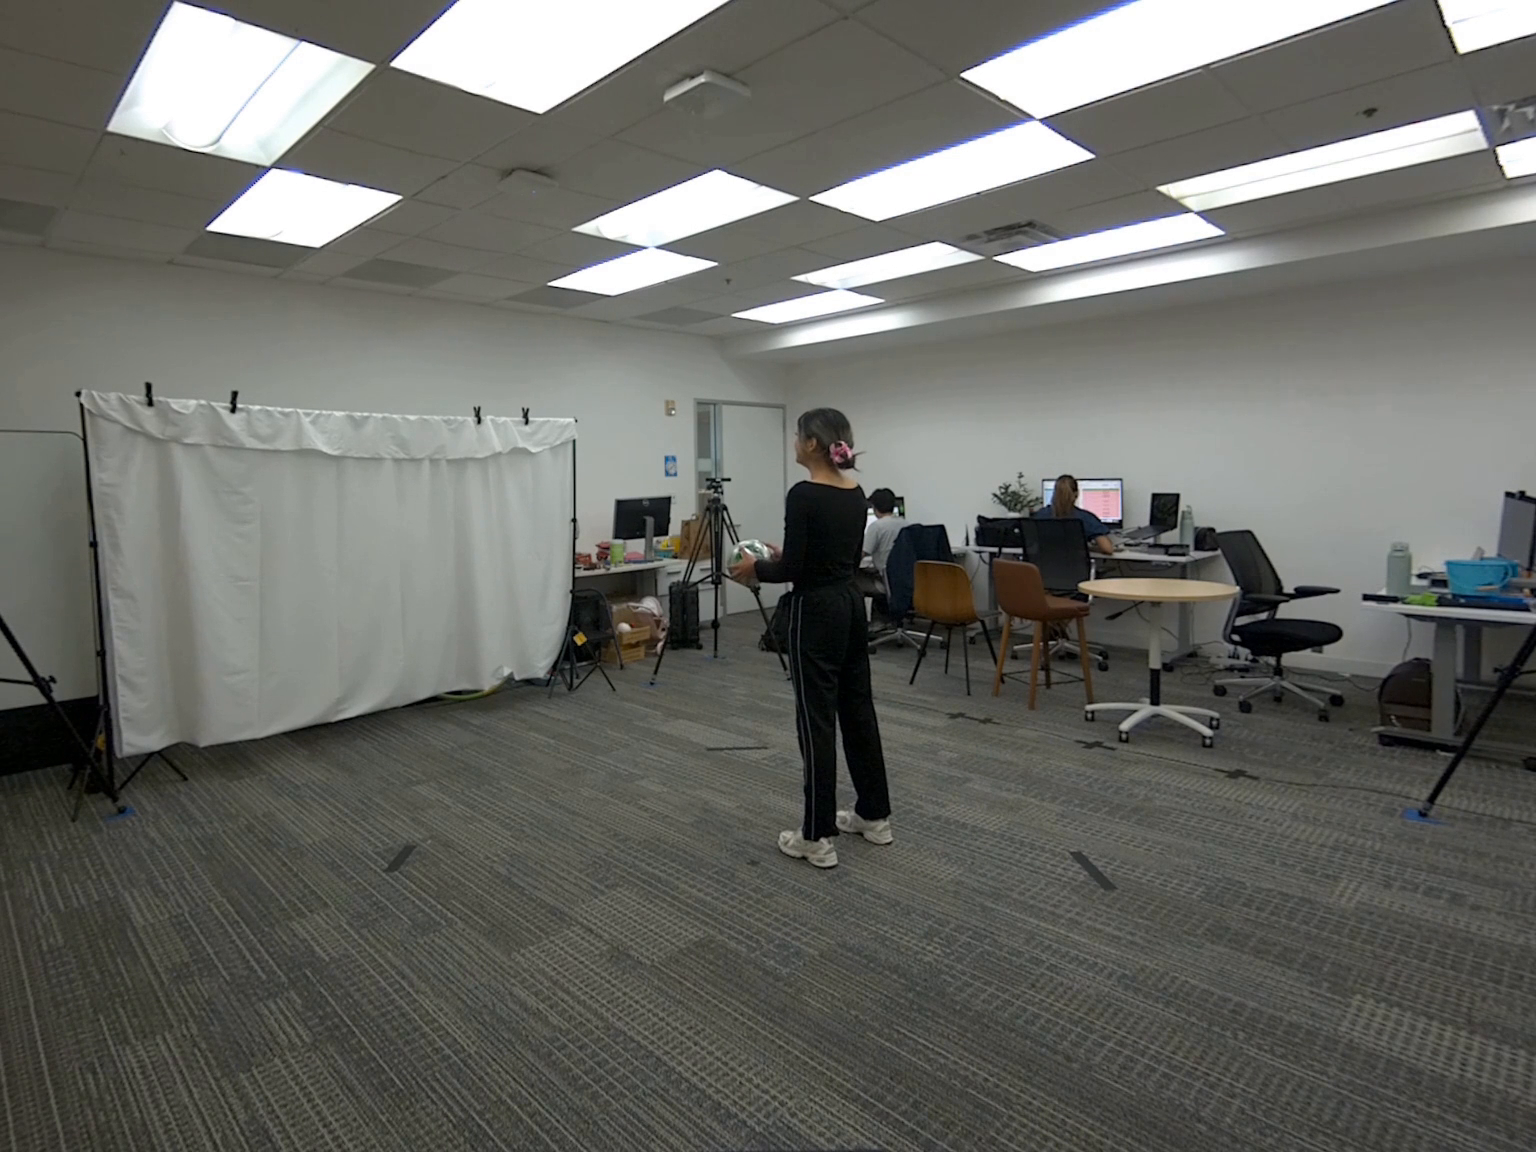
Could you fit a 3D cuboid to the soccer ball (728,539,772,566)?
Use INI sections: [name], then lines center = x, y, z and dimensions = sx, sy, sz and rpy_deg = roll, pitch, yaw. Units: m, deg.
[soccer ball]
center = -0.058, -0.063, 3.422
dimensions = 0.187, 0.187, 0.188
rpy_deg = -1, 5, -2
